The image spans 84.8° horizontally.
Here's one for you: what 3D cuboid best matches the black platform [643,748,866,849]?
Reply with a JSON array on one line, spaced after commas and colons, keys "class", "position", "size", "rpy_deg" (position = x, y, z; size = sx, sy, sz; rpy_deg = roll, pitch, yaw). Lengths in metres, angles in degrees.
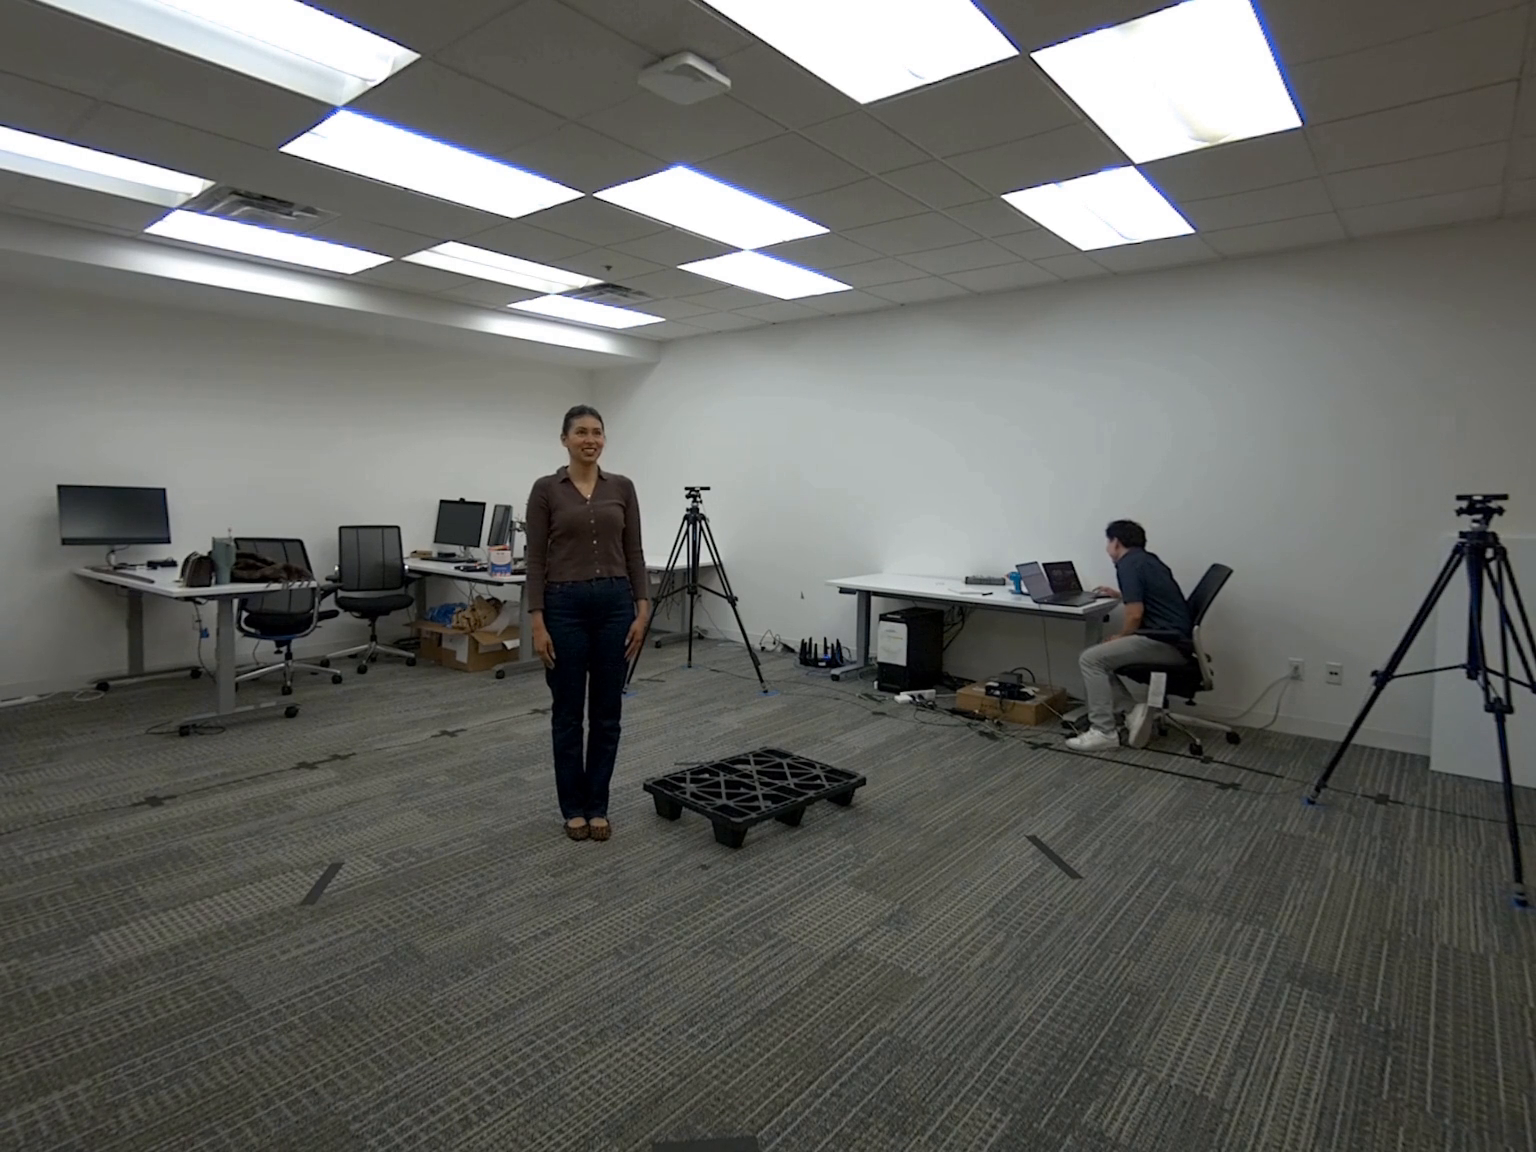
[{"class": "black platform", "position": [-0.057, 0.943, 3.691], "size": [0.781, 0.143, 0.626], "rpy_deg": [-5, 9, -44]}]
